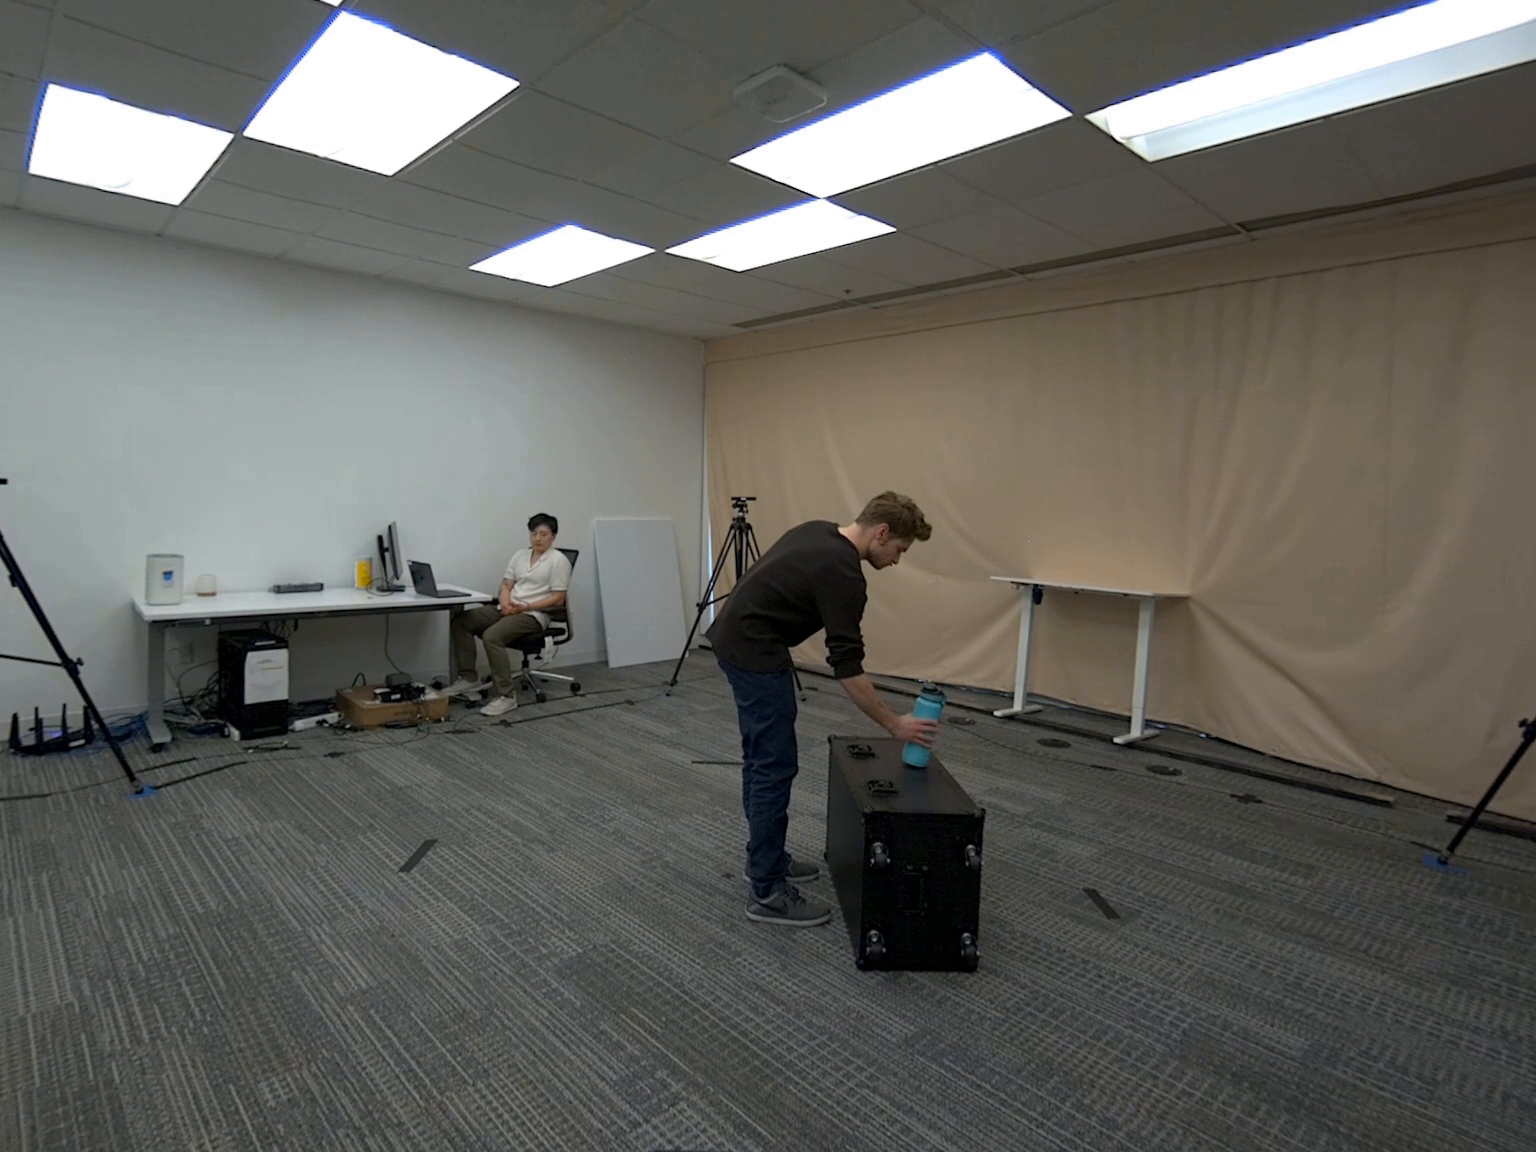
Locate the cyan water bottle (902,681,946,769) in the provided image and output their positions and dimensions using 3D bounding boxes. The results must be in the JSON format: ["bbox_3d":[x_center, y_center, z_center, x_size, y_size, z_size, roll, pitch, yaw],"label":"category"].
[{"bbox_3d":[0.535,0.509,2.921,0.092,0.283,0.092,14,-1,-1],"label":"cyan water bottle"}]
